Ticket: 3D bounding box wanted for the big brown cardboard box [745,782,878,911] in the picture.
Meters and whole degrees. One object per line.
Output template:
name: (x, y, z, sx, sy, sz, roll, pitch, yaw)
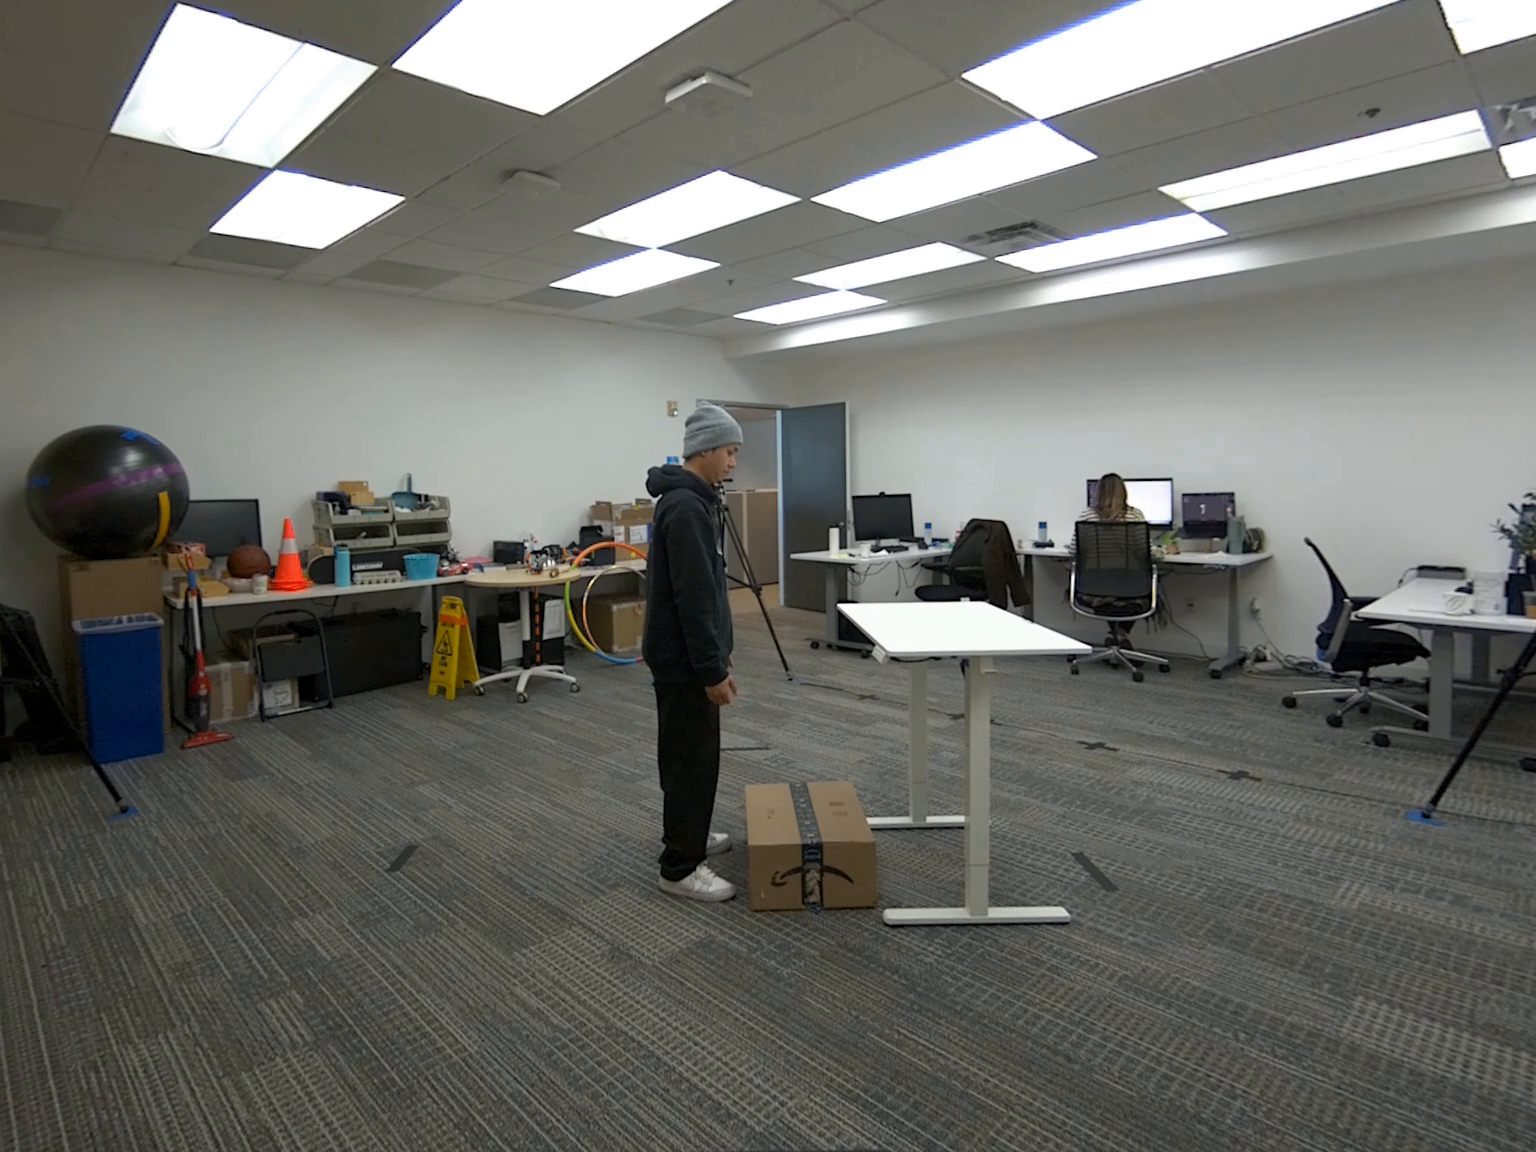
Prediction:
big brown cardboard box: (0.131, 0.936, 3.028, 0.417, 0.232, 0.592, -1, 7, -1)
